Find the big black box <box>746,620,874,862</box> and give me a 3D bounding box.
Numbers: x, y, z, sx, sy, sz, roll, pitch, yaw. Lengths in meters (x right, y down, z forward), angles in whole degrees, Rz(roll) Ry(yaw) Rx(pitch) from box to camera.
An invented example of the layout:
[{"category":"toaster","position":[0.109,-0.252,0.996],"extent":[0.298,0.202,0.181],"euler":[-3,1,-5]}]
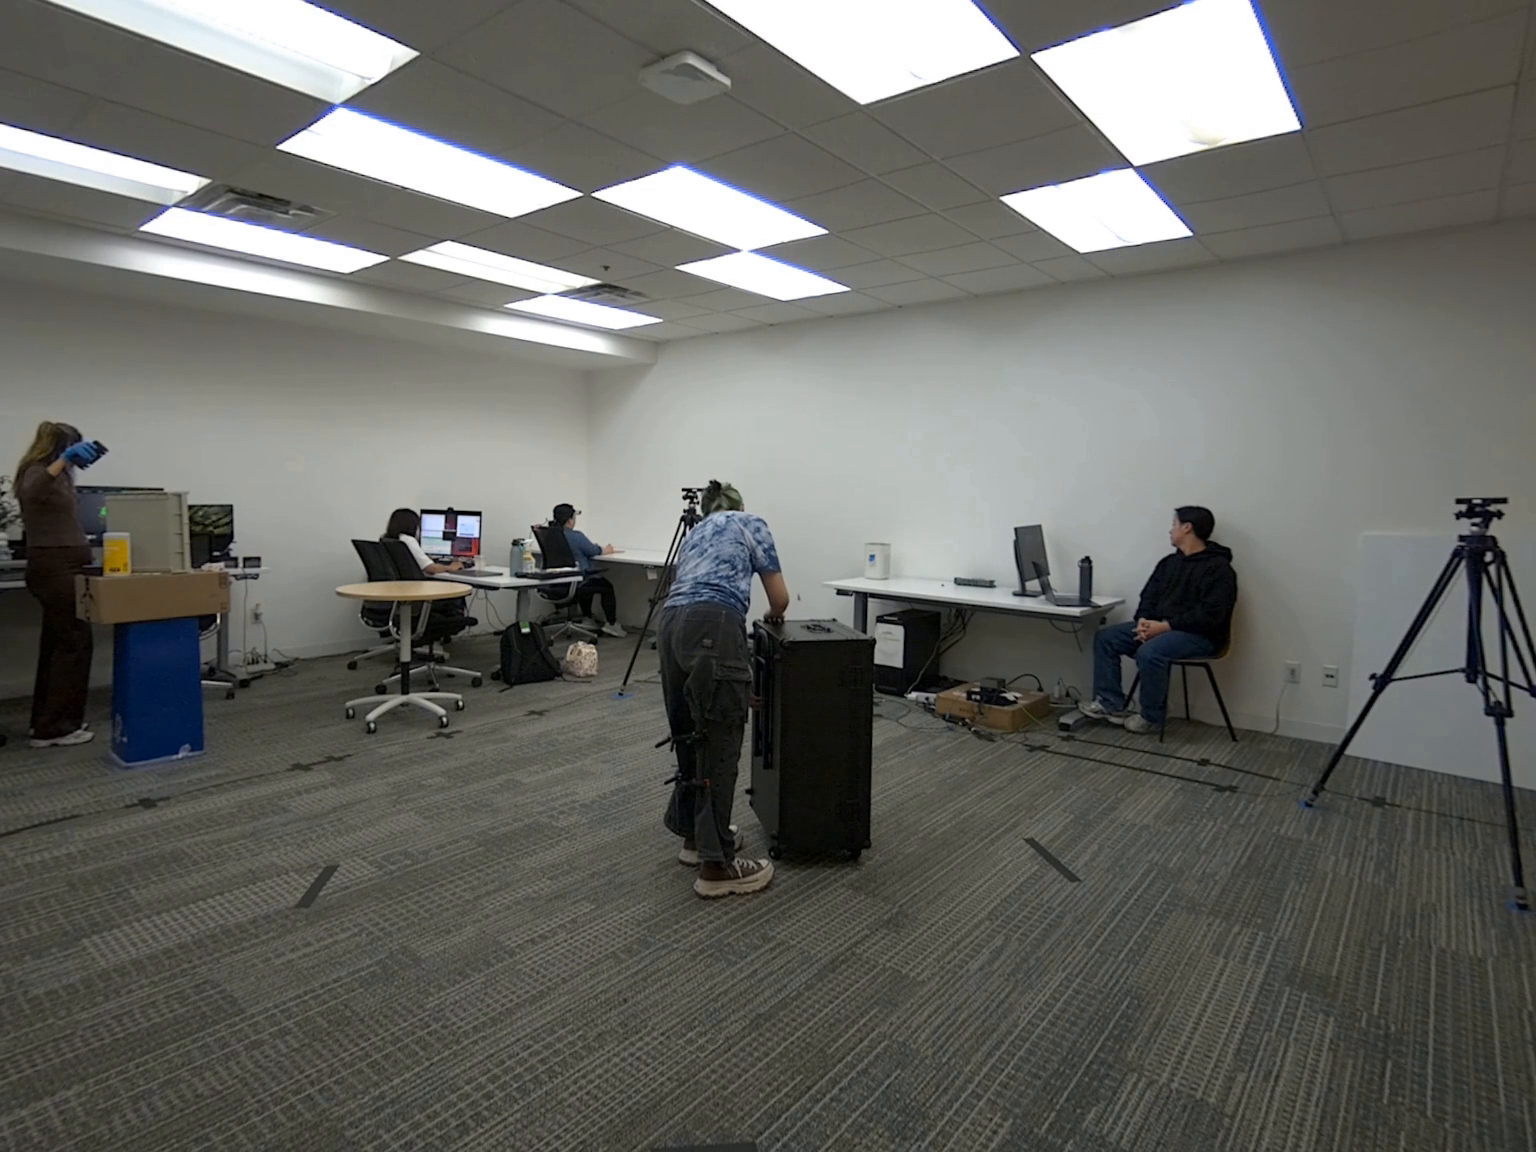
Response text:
[{"category":"big black box","position":[0.149,0.635,3.337],"extent":[0.392,0.858,0.529],"euler":[0,4,-11]}]
